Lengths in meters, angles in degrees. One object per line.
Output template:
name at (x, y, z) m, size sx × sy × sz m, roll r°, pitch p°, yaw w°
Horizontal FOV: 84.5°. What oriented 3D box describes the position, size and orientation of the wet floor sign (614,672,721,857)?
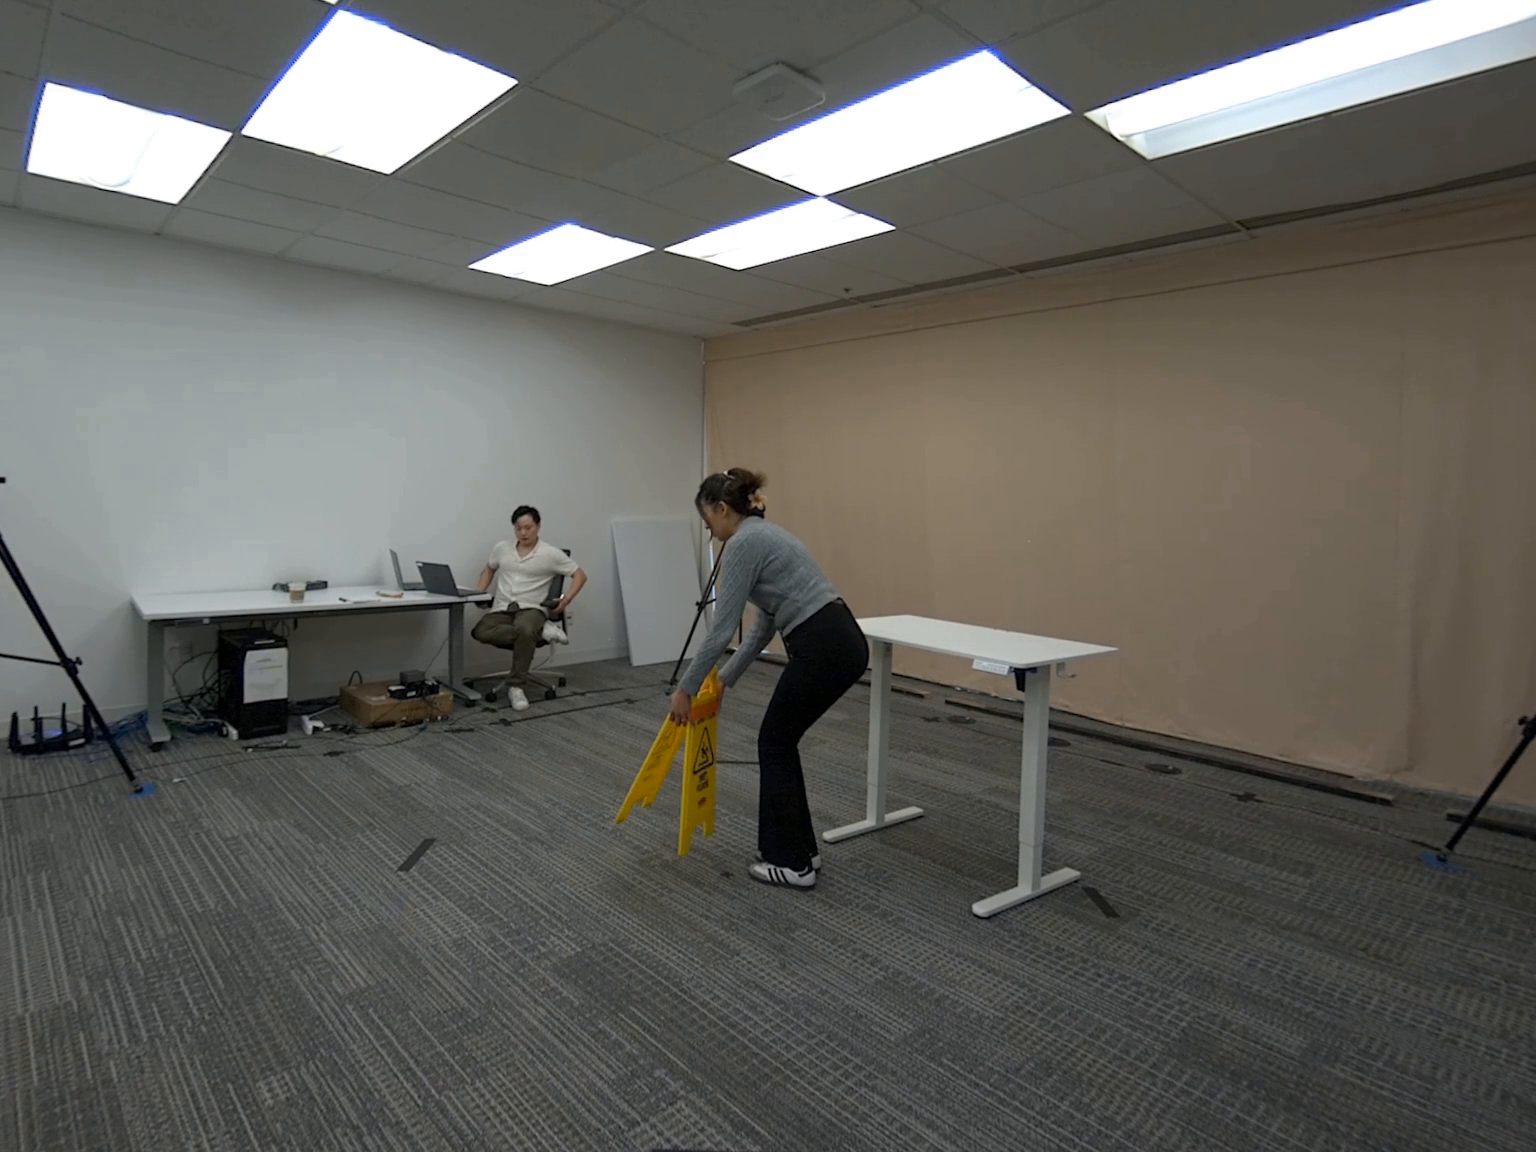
wet floor sign at (-0.321, 0.645, 3.152) m, size 0.296 × 0.644 × 0.277 m, roll 17°, pitch 7°, yaw 22°
